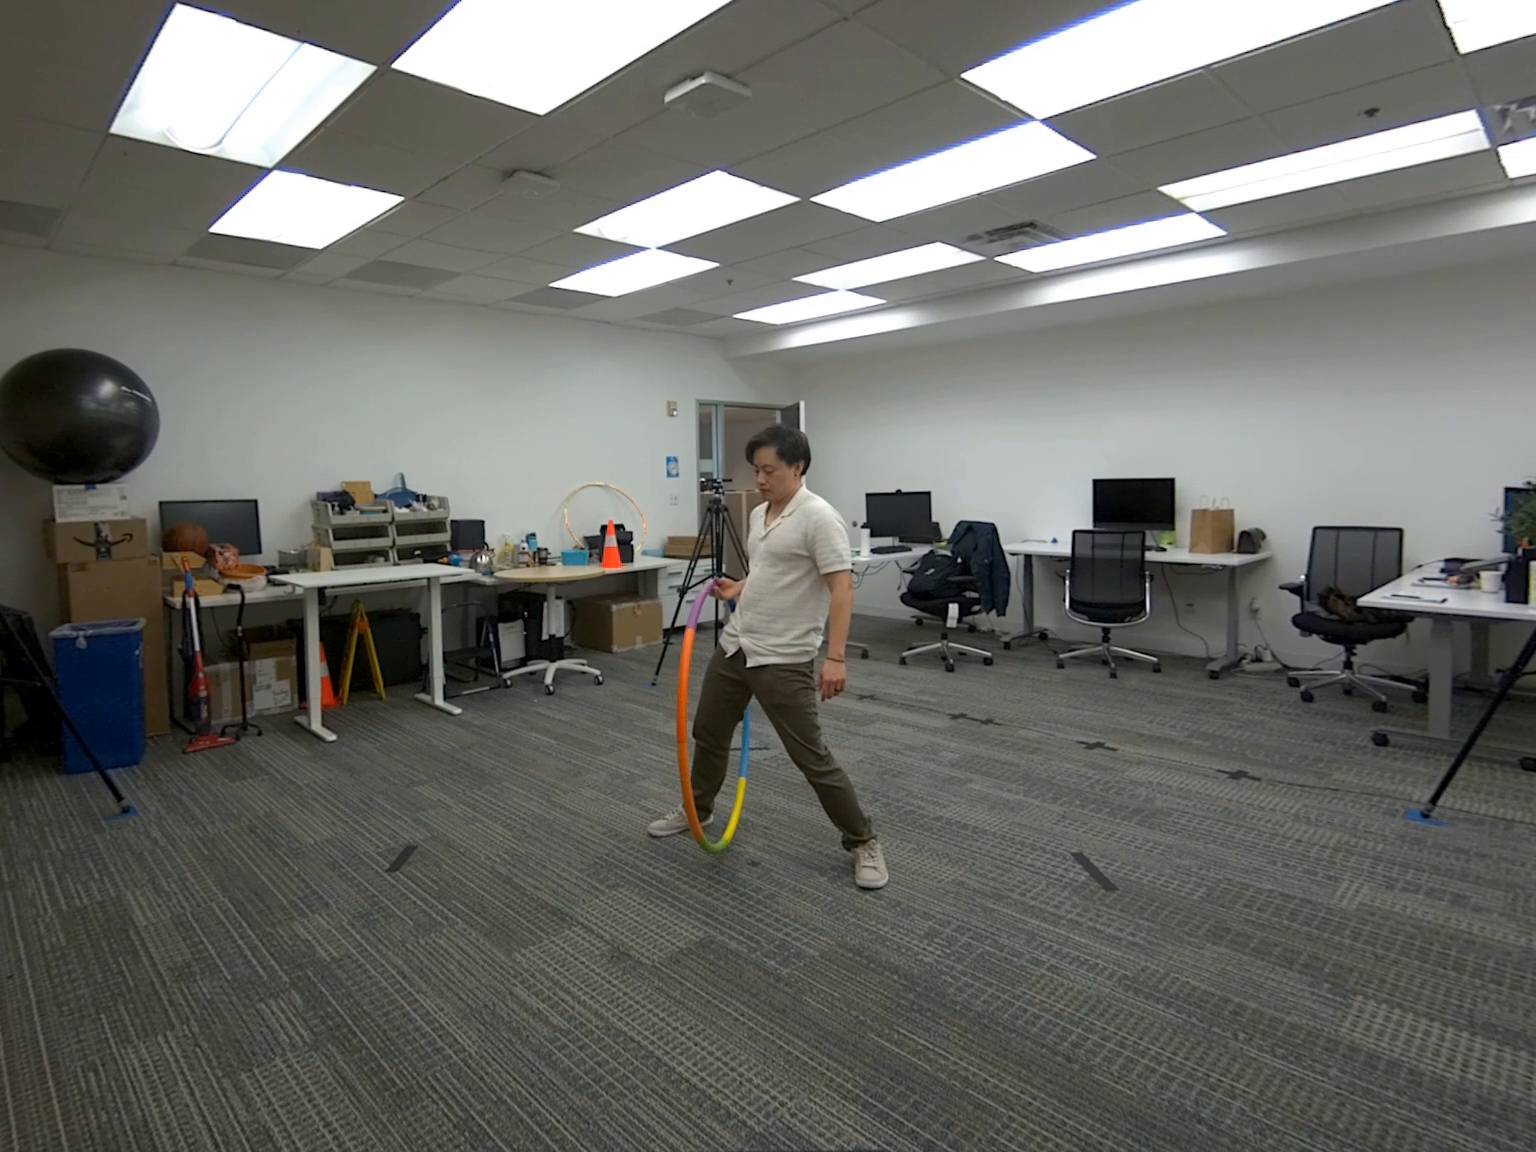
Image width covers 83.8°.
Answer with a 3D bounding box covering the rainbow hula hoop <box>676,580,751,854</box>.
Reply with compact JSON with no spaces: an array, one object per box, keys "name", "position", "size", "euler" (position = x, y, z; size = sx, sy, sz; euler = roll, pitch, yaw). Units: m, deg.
[{"name":"rainbow hula hoop","position":[-0.179,0.499,3.186],"size":[0.036,0.975,0.971],"euler":[-2,4,11]}]
